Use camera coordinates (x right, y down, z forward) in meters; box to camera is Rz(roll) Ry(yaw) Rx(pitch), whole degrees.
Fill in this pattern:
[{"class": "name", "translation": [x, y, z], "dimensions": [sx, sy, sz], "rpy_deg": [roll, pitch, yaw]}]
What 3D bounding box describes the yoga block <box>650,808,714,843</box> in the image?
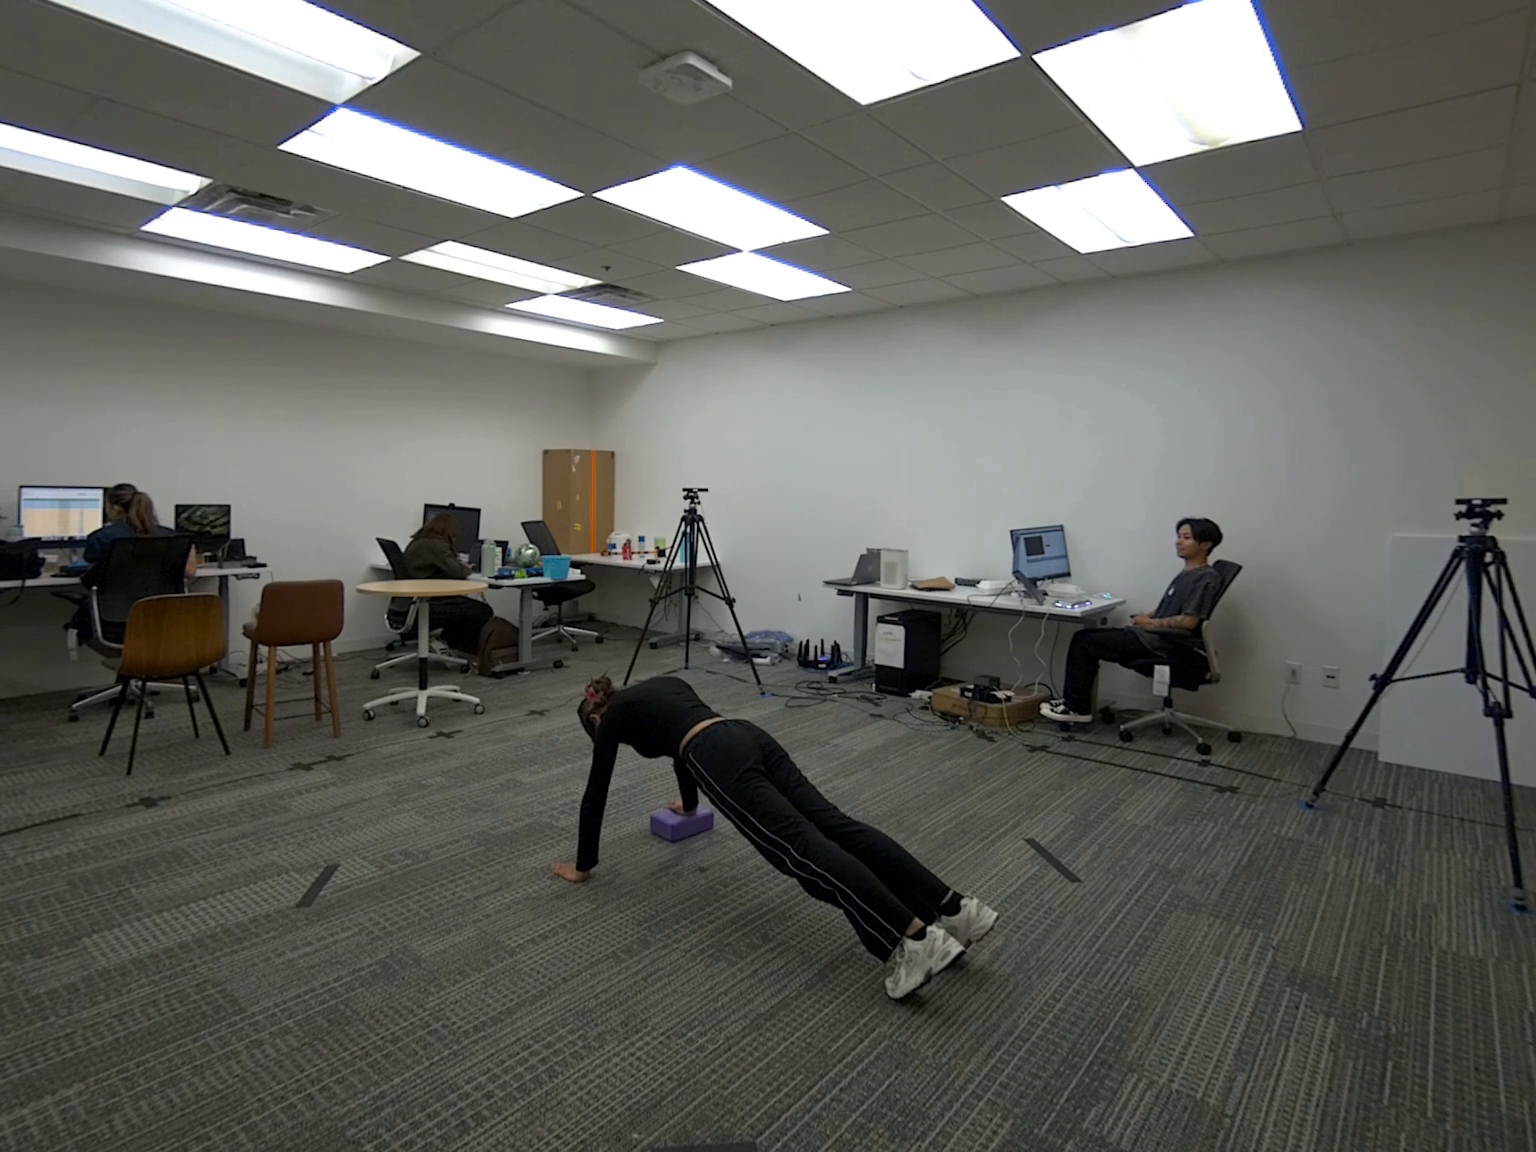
[{"class": "yoga block", "translation": [-0.360, 0.996, 3.458], "dimensions": [0.222, 0.076, 0.154], "rpy_deg": [-1, 5, -43]}]
